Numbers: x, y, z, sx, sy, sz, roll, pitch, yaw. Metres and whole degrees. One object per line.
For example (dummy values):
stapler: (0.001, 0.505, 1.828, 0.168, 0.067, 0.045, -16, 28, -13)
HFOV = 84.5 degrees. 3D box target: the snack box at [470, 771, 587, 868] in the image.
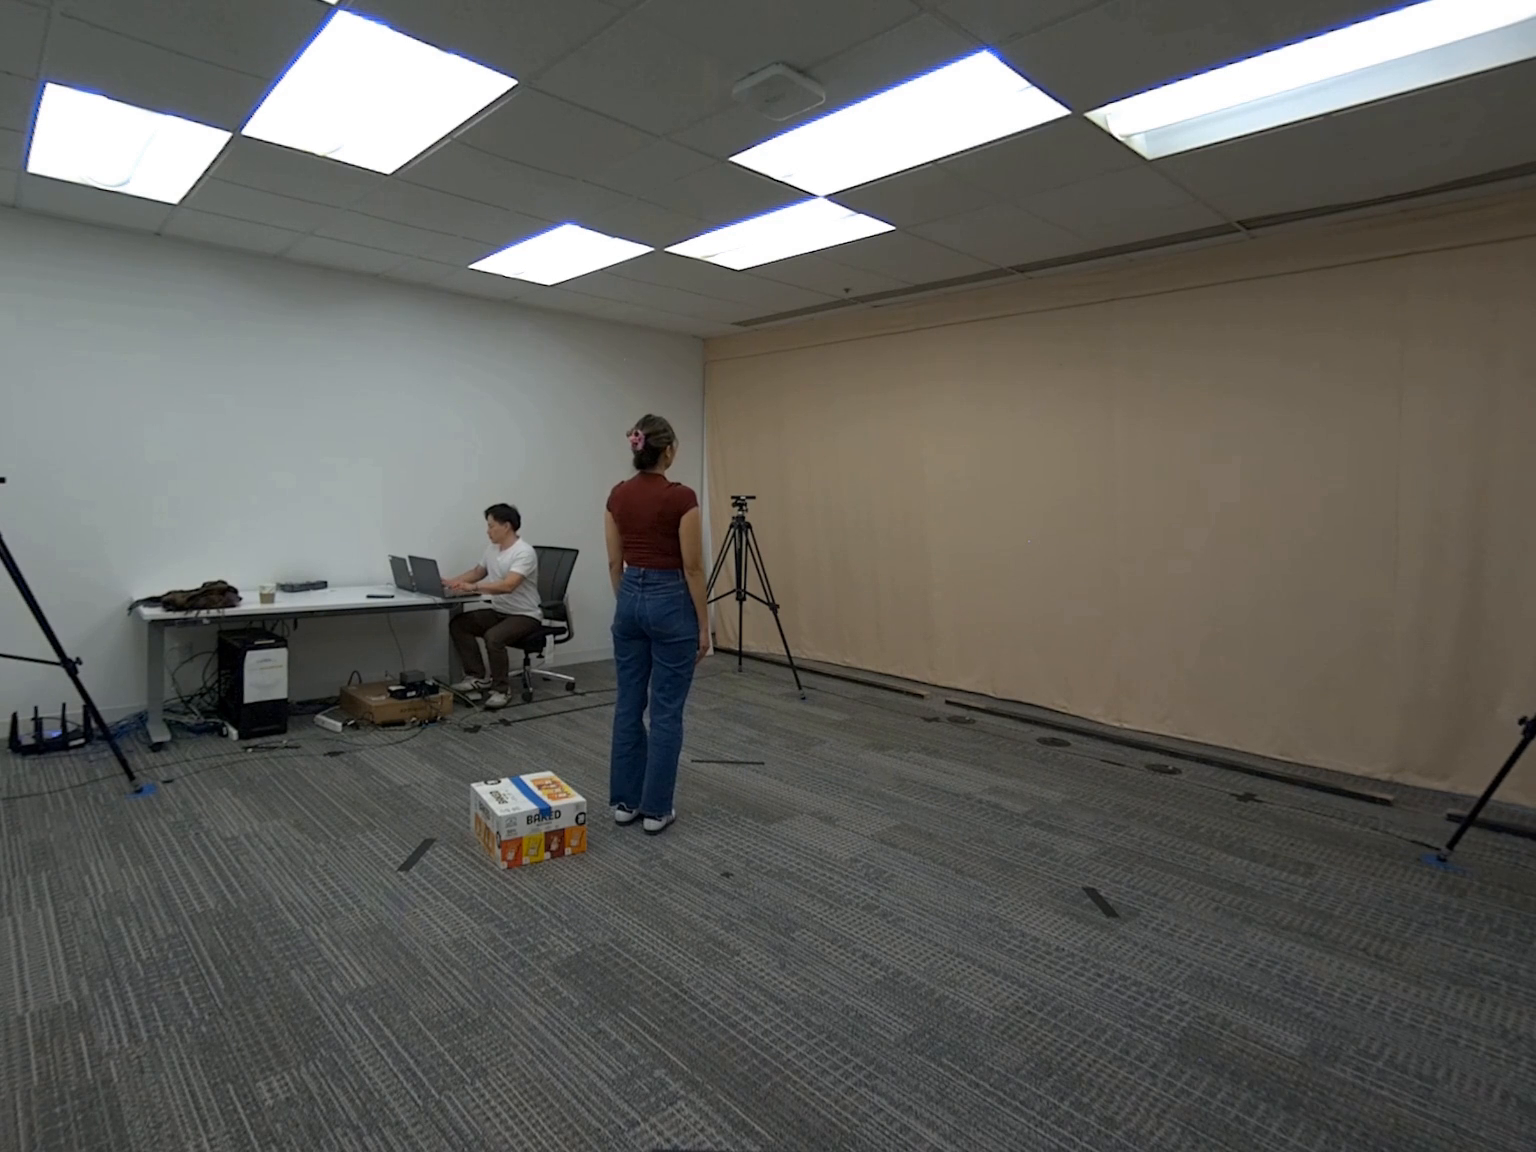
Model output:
snack box: (-0.973, 0.950, 3.356, 0.333, 0.205, 0.415, -1, 5, -34)
